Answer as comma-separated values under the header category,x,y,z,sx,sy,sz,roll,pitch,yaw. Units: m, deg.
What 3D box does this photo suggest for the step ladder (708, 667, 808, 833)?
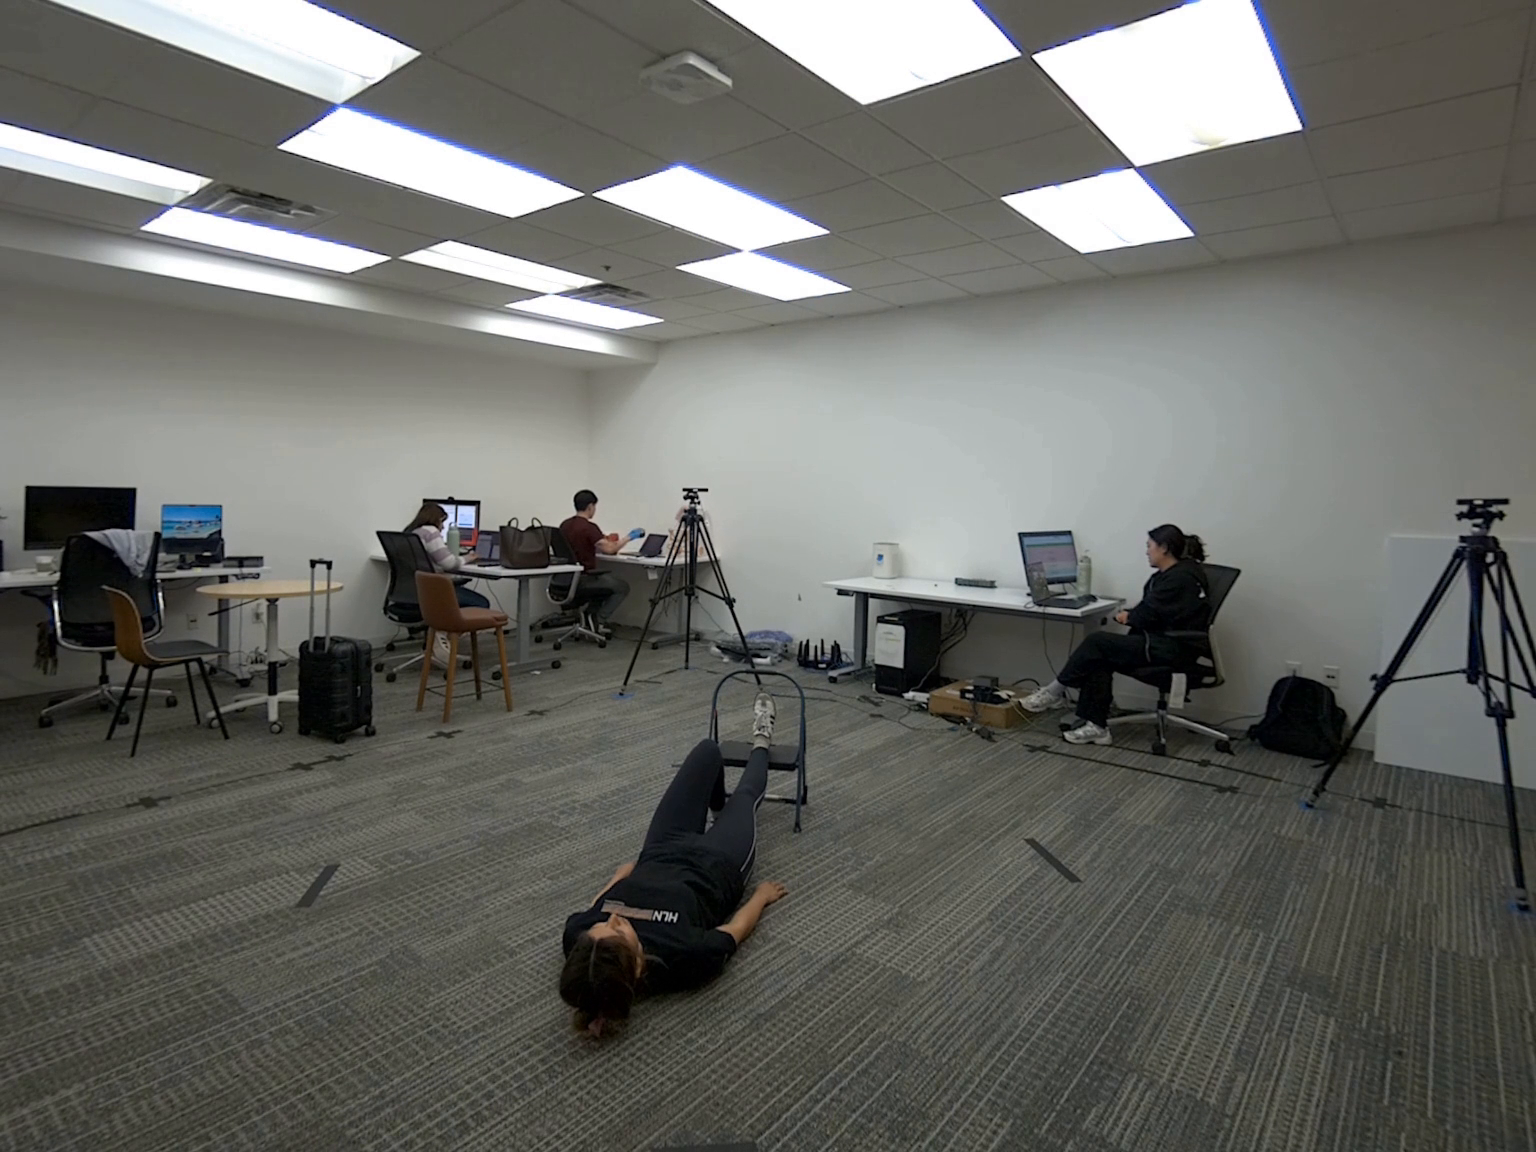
category,x,y,z,sx,sy,sz,roll,pitch,yaw
step ladder,-0.051,0.718,3.664,0.436,0.604,0.346,1,3,10
